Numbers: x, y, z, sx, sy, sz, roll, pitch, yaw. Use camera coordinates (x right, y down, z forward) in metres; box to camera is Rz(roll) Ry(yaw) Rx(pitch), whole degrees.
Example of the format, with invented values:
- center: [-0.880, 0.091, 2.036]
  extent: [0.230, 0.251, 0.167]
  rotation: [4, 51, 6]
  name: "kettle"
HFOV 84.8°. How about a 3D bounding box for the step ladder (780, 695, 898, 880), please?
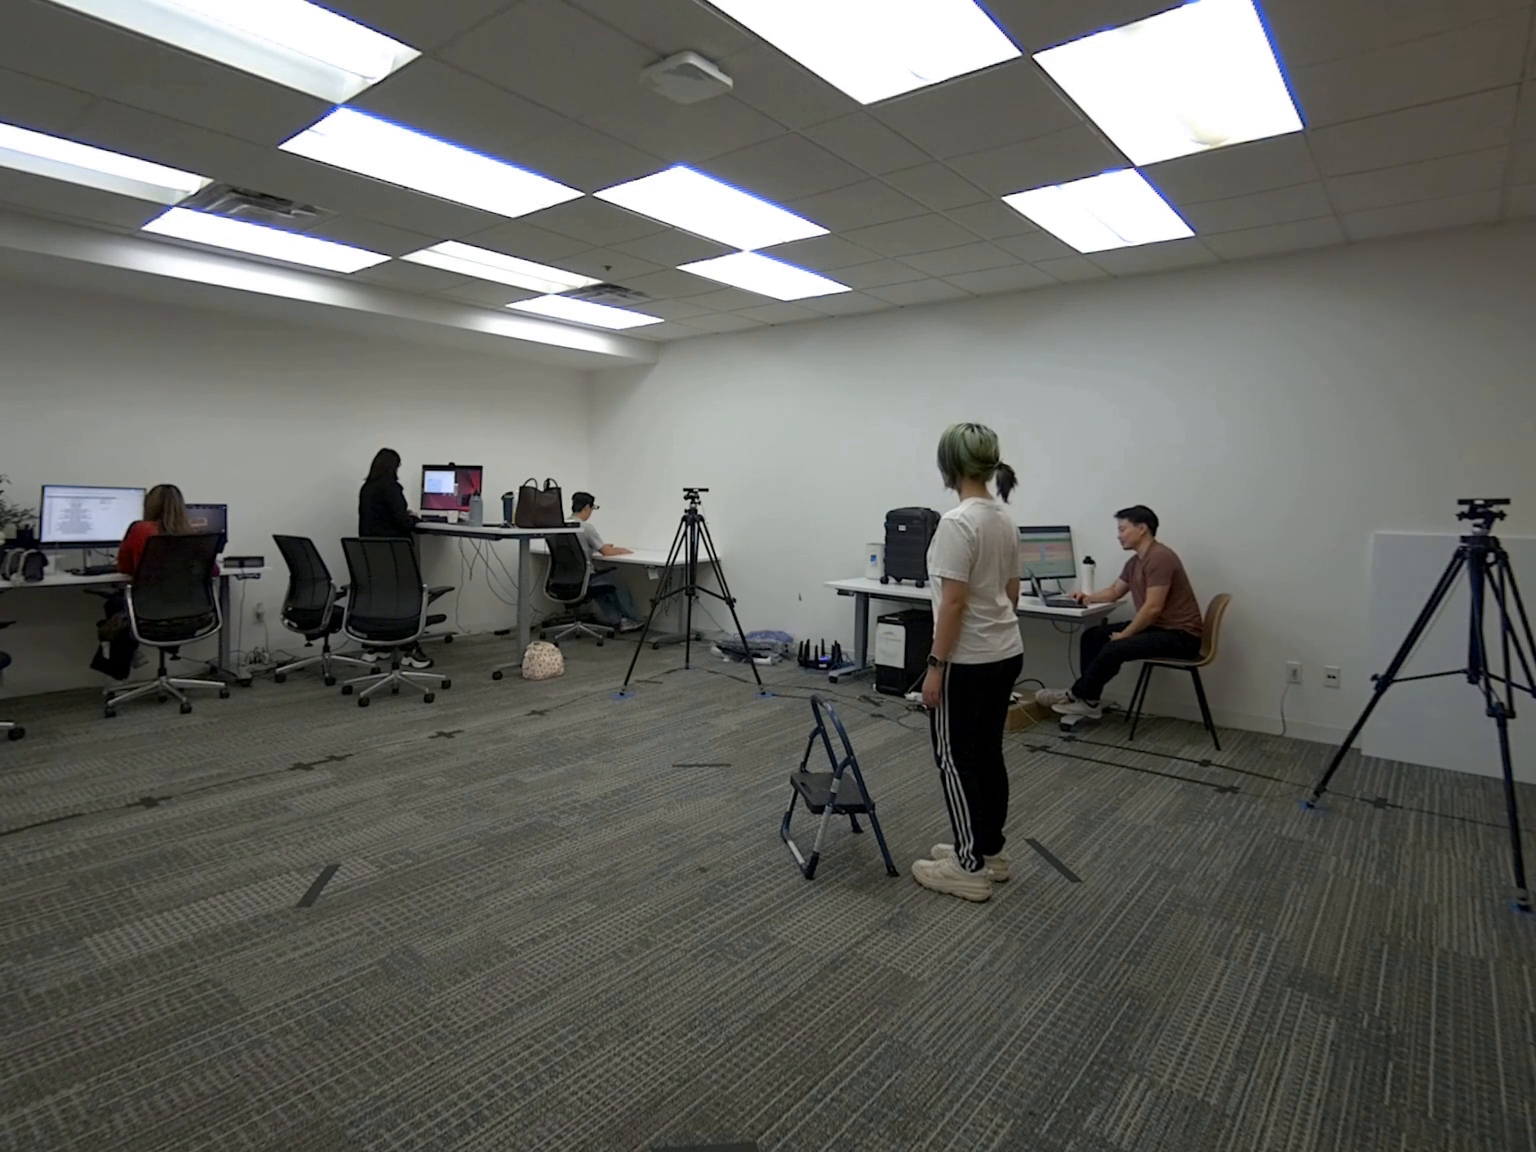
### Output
- center: [0.256, 0.765, 3.255]
  extent: [0.345, 0.604, 0.437]
  rotation: [1, 4, -11]
  name: "step ladder"
